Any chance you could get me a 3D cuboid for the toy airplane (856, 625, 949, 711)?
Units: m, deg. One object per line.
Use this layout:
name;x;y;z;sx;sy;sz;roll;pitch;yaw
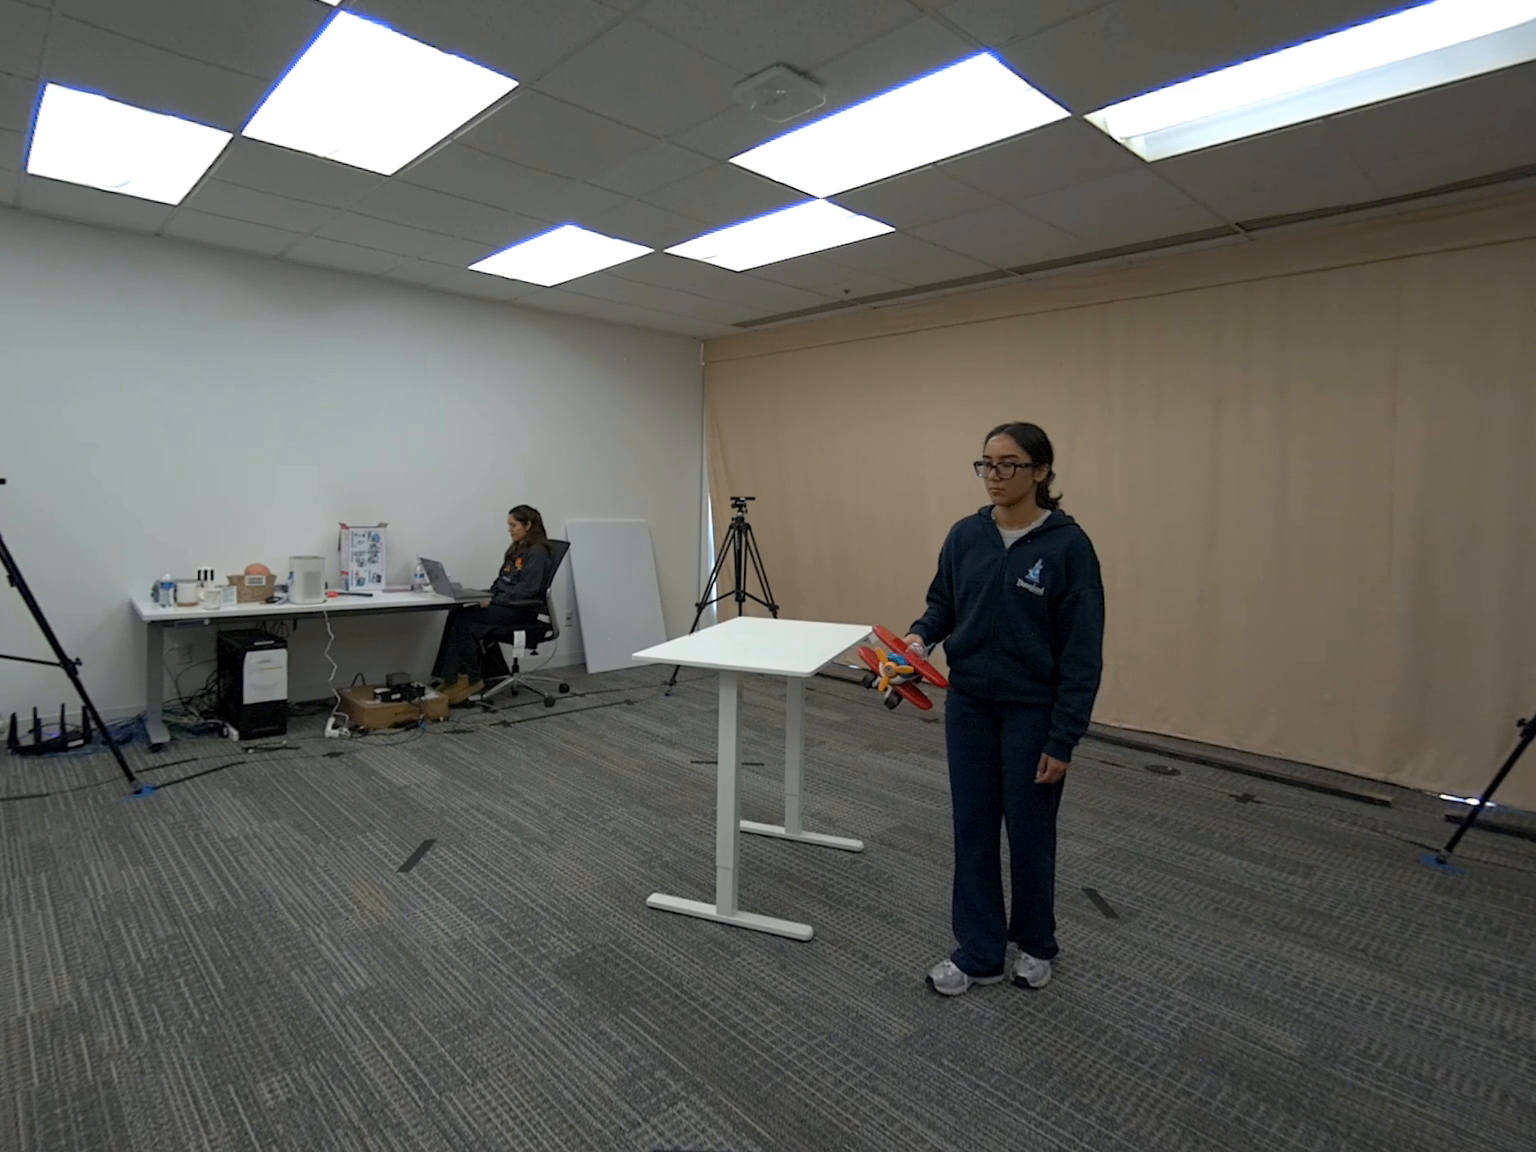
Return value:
toy airplane;0.373;0.254;2.380;0.252;0.155;0.261;26;31;1
